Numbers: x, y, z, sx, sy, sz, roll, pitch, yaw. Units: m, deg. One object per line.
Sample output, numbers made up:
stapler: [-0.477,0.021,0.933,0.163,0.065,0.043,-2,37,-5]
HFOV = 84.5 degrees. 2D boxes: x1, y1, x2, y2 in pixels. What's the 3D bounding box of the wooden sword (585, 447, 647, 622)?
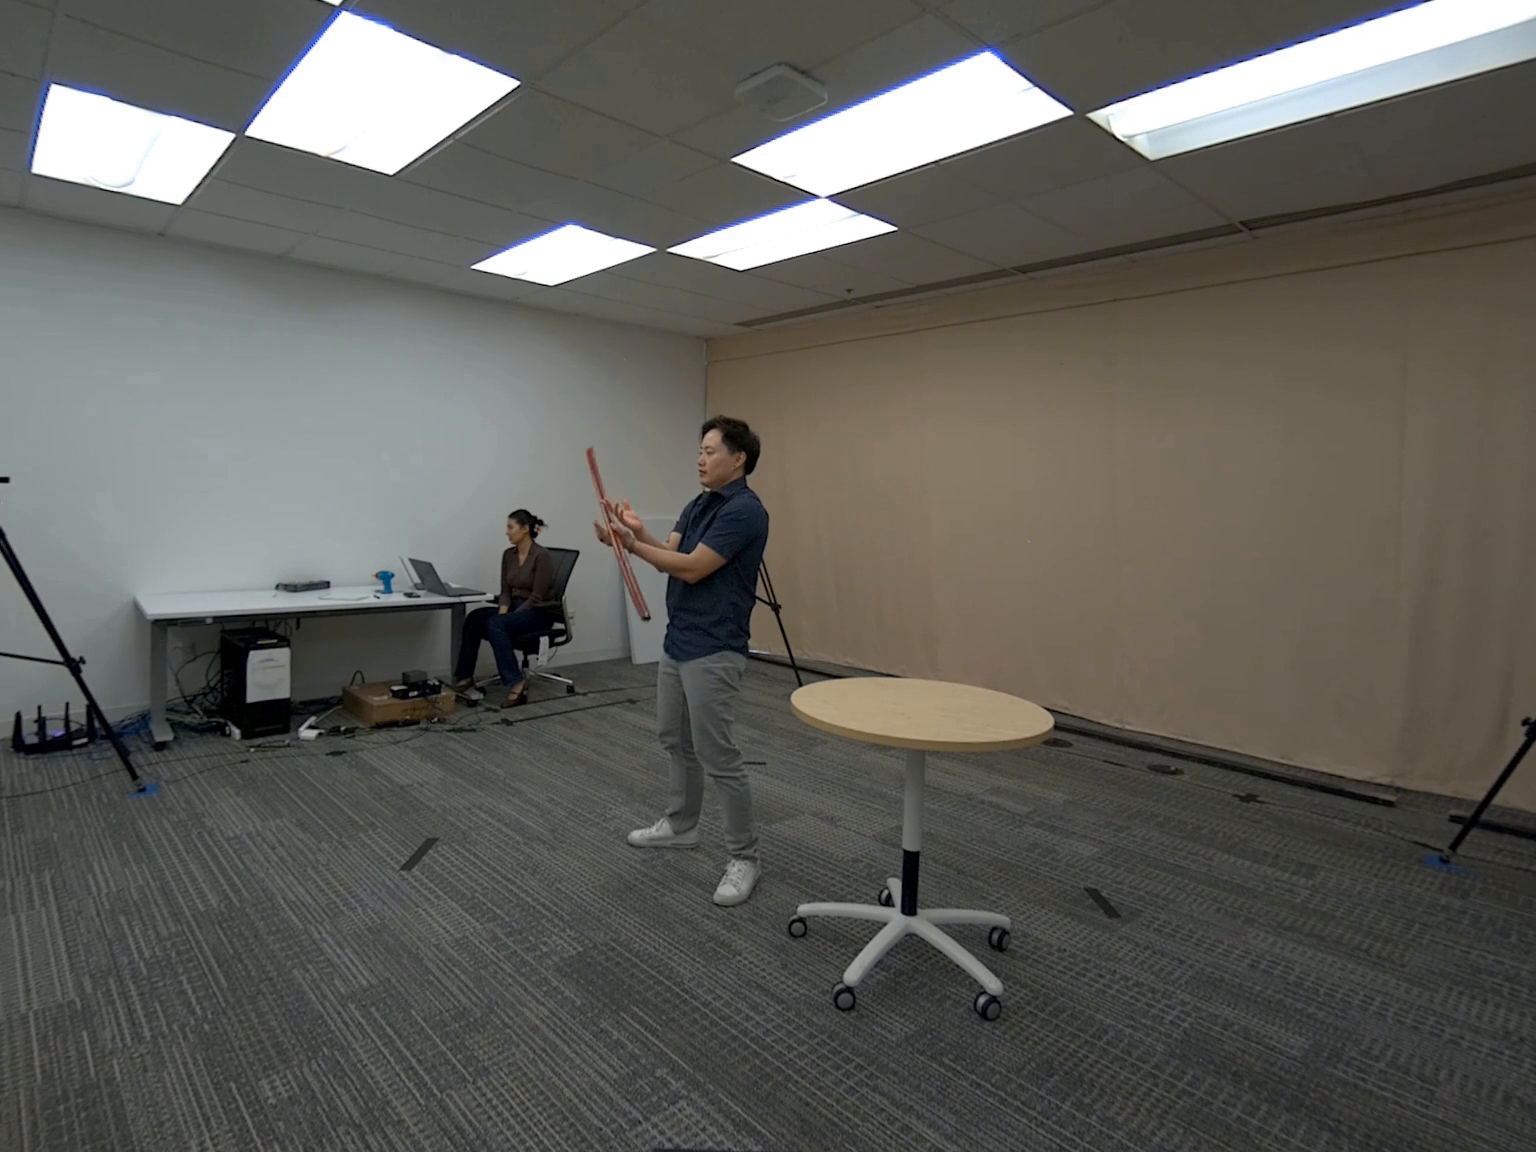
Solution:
wooden sword: [-0.549,-0.175,2.916,0.050,0.024,1.055,6,36,-23]
